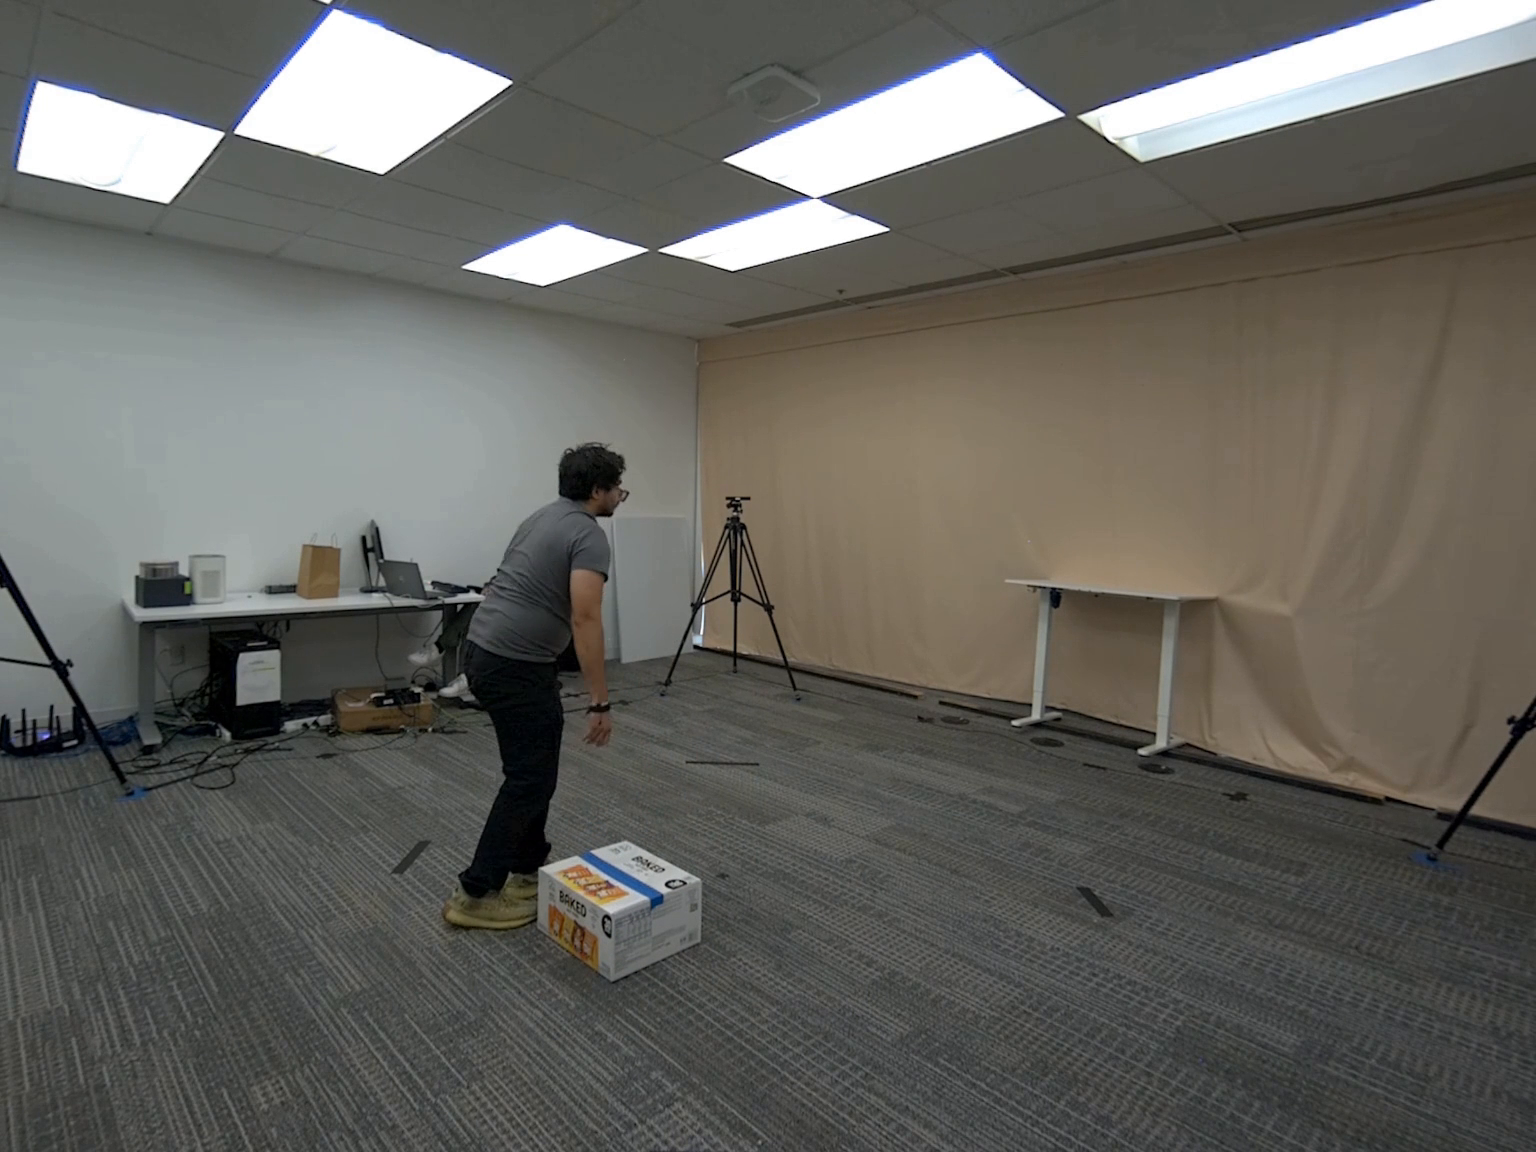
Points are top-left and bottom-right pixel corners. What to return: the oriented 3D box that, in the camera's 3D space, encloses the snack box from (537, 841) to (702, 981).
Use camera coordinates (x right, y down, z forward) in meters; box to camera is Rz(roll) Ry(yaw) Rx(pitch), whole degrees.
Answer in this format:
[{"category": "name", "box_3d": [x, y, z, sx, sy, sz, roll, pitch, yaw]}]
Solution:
[{"category": "snack box", "box_3d": [-0.474, 1.042, 2.646, 0.332, 0.205, 0.415, -3, 7, -44]}]
